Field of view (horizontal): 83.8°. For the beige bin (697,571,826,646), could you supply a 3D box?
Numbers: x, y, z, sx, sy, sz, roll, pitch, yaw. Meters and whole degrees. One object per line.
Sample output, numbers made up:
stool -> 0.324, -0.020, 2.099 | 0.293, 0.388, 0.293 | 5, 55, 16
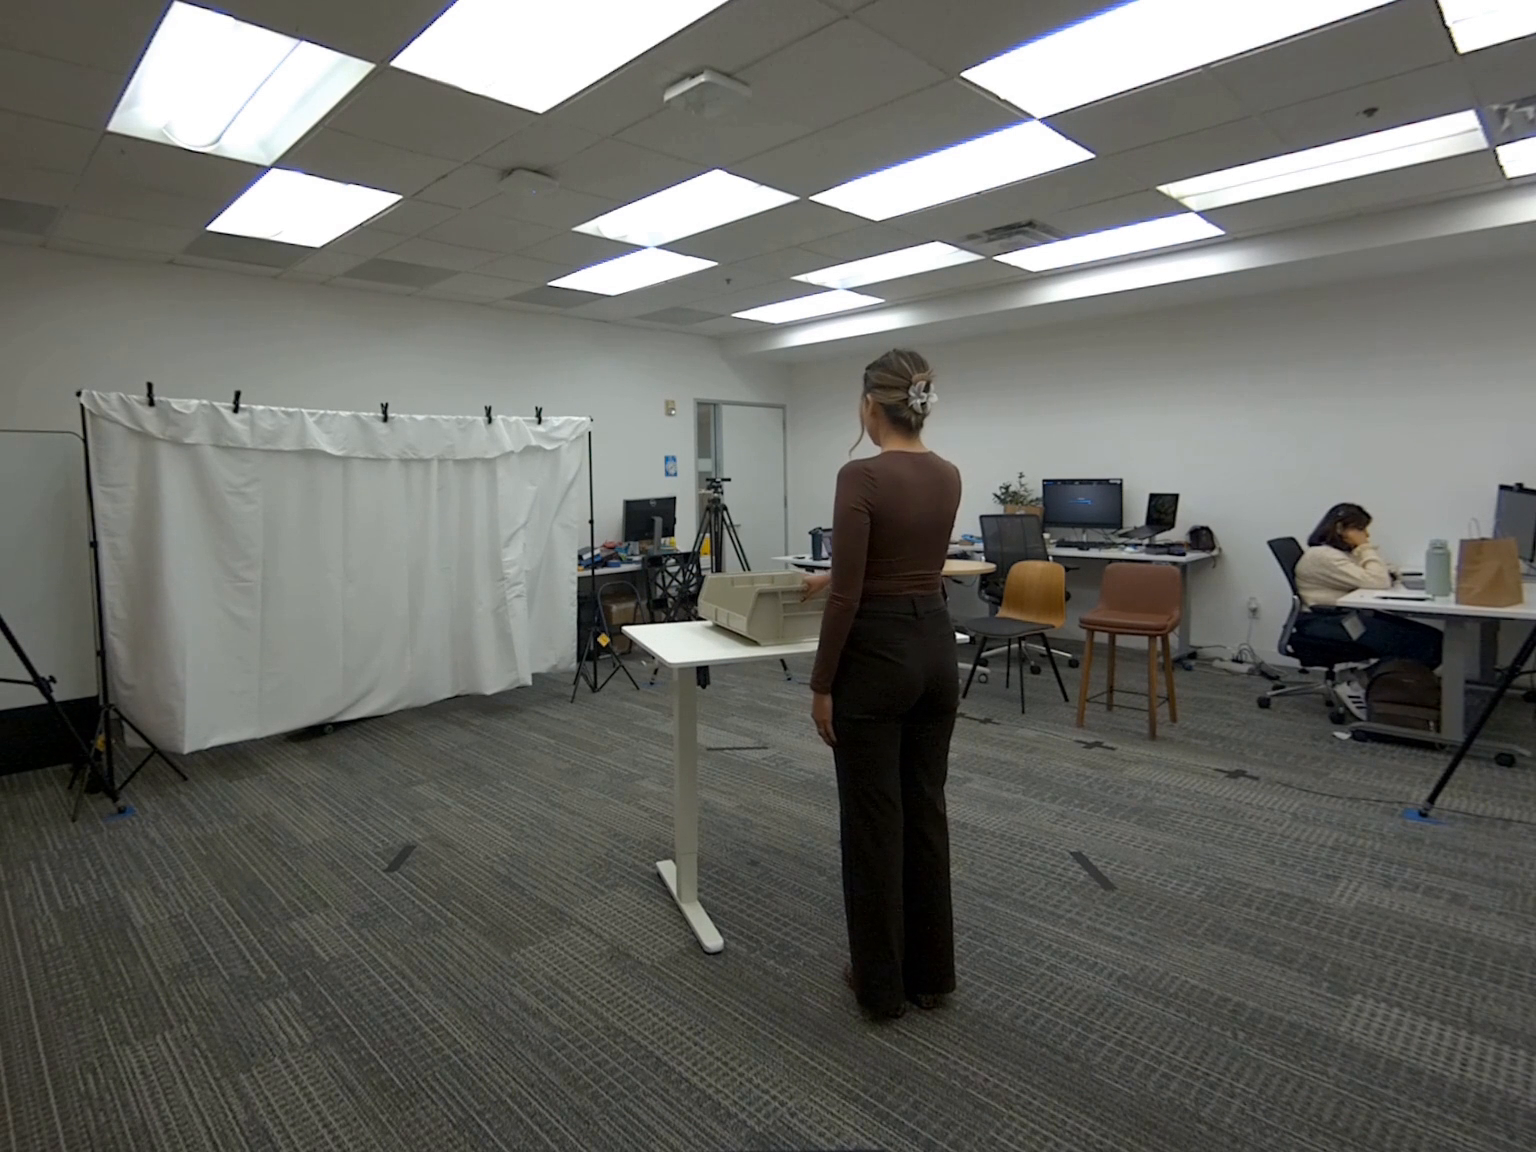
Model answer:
beige bin -> 0.017, 0.099, 2.835 | 0.370, 0.188, 0.433 | -2, 6, -24
